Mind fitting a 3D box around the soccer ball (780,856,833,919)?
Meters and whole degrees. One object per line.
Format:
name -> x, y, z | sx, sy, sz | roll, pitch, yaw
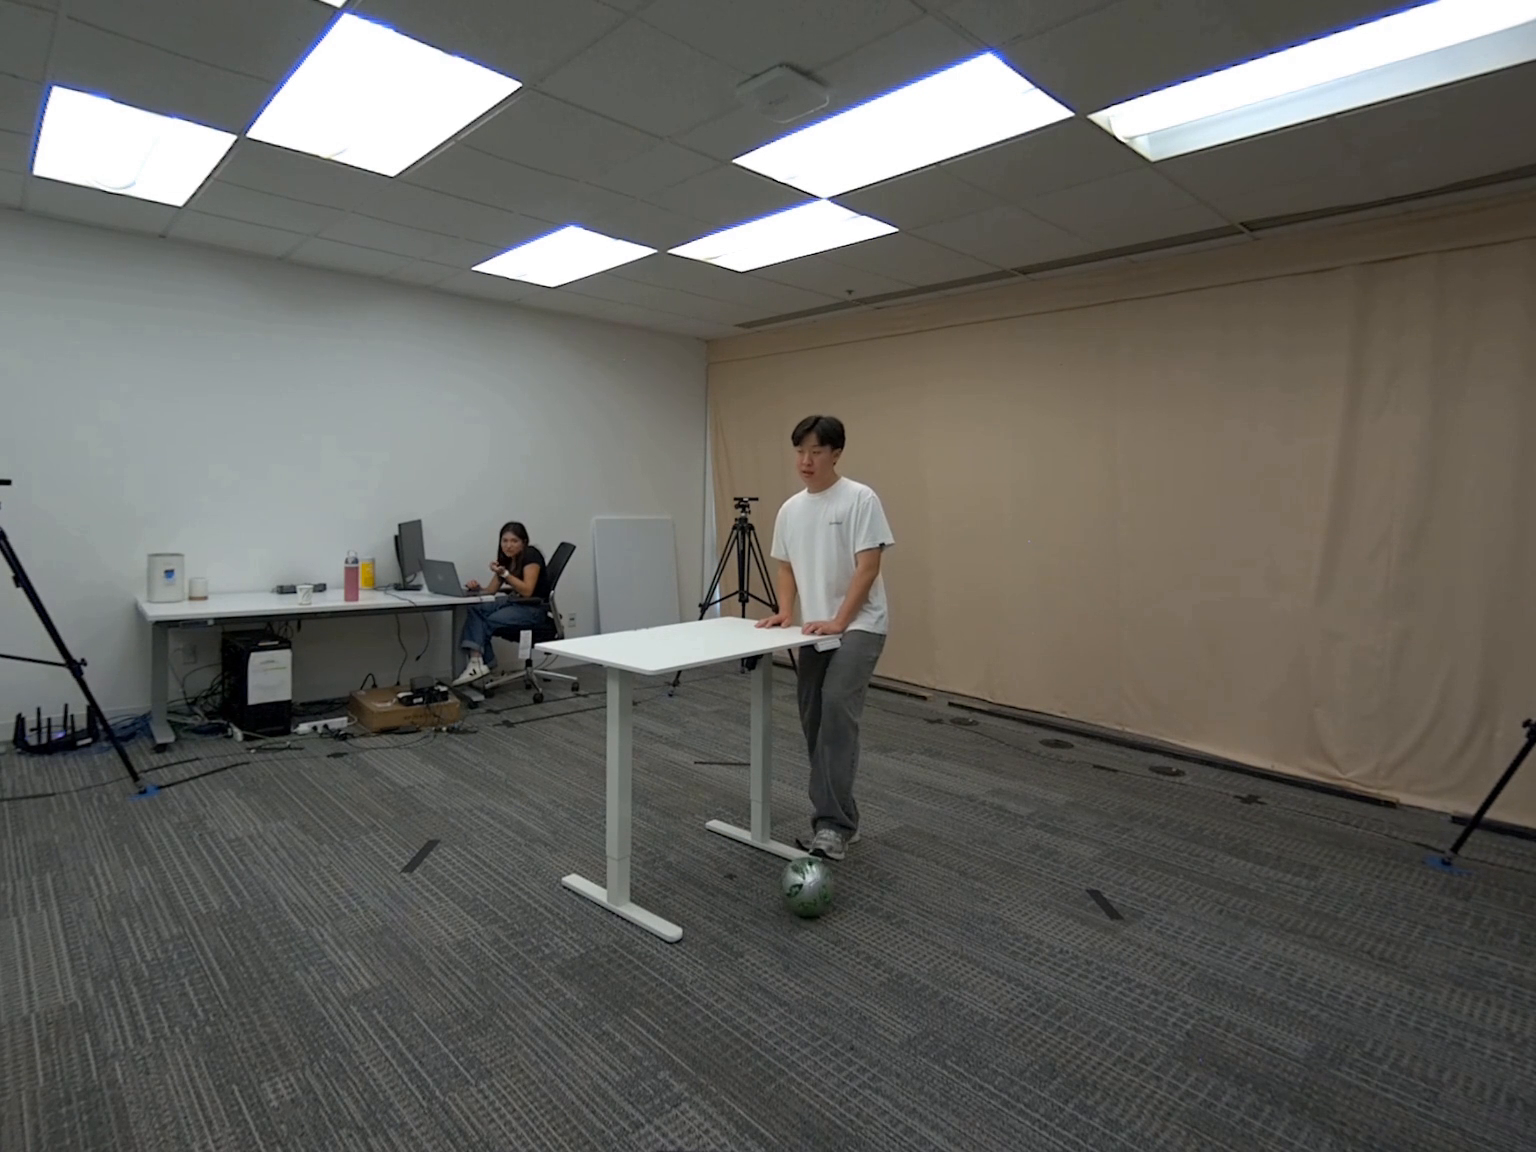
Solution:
soccer ball -> 0.125, 1.044, 2.822 | 0.187, 0.187, 0.188 | 1, 4, -1
